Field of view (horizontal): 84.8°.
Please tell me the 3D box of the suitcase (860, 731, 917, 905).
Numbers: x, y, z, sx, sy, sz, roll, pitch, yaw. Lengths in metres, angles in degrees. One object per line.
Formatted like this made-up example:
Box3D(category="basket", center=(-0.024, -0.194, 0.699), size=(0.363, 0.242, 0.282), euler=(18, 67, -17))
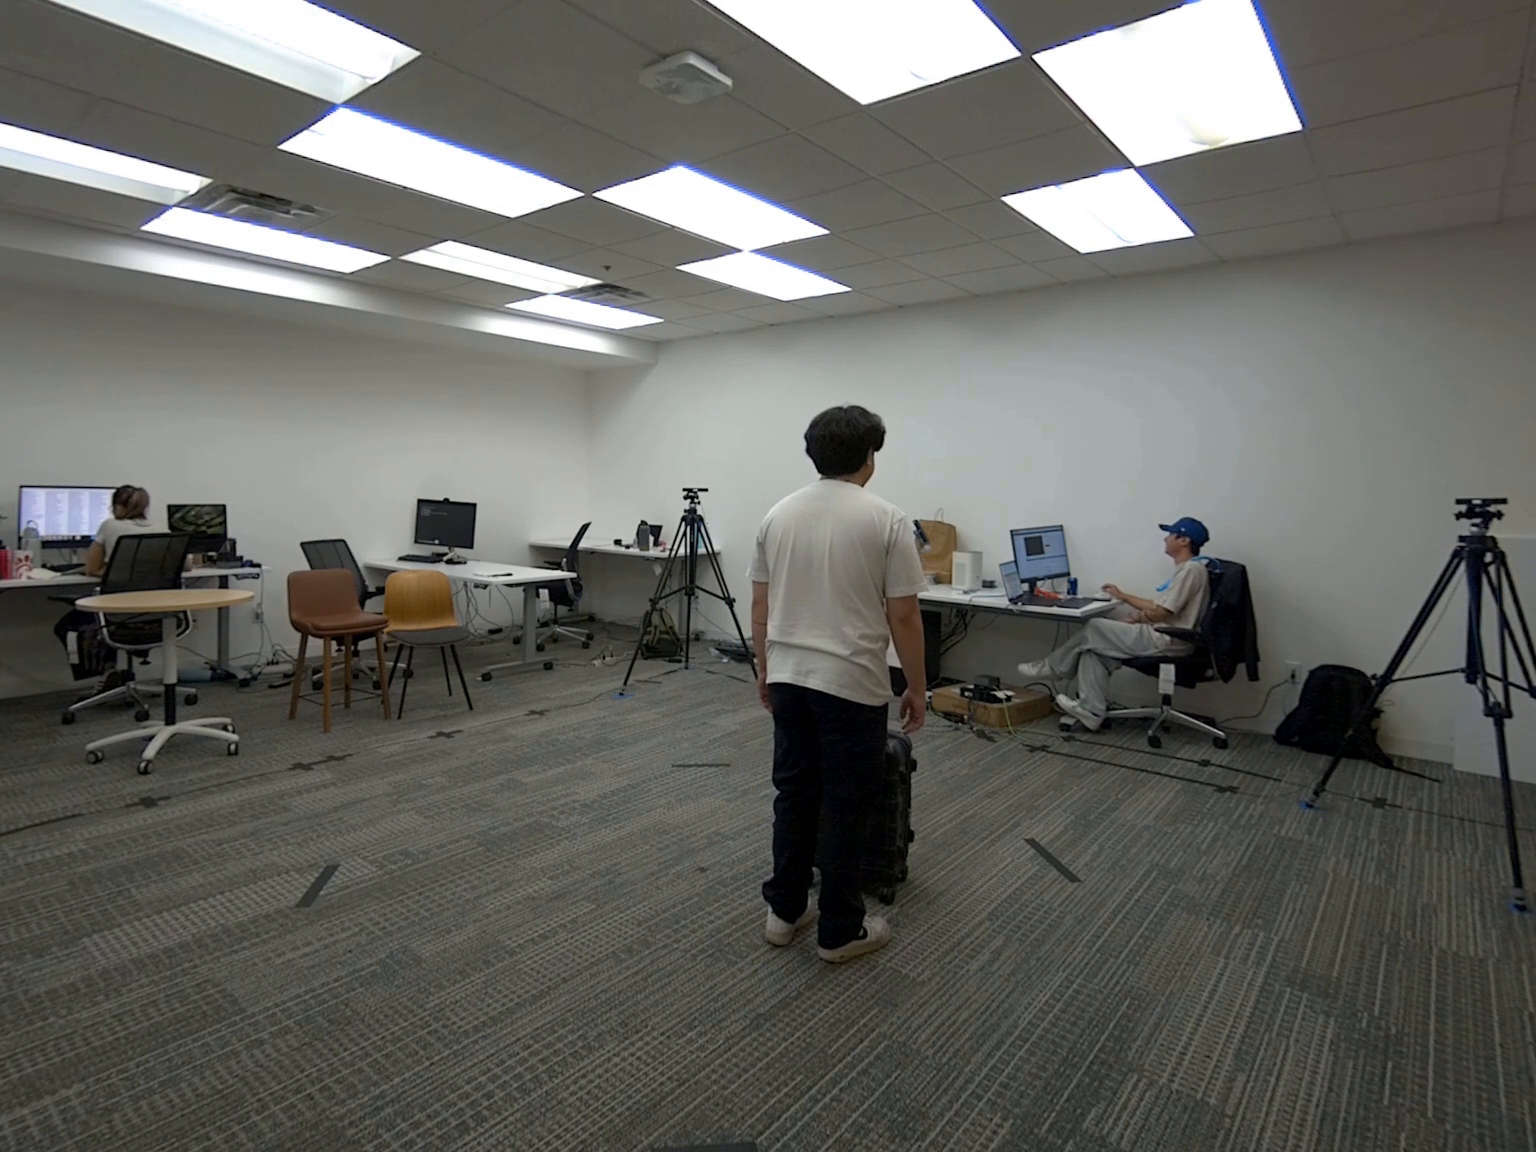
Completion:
Box3D(category="suitcase", center=(0.327, 0.612, 3.050), size=(0.393, 0.979, 0.251), euler=(3, -1, 23))
